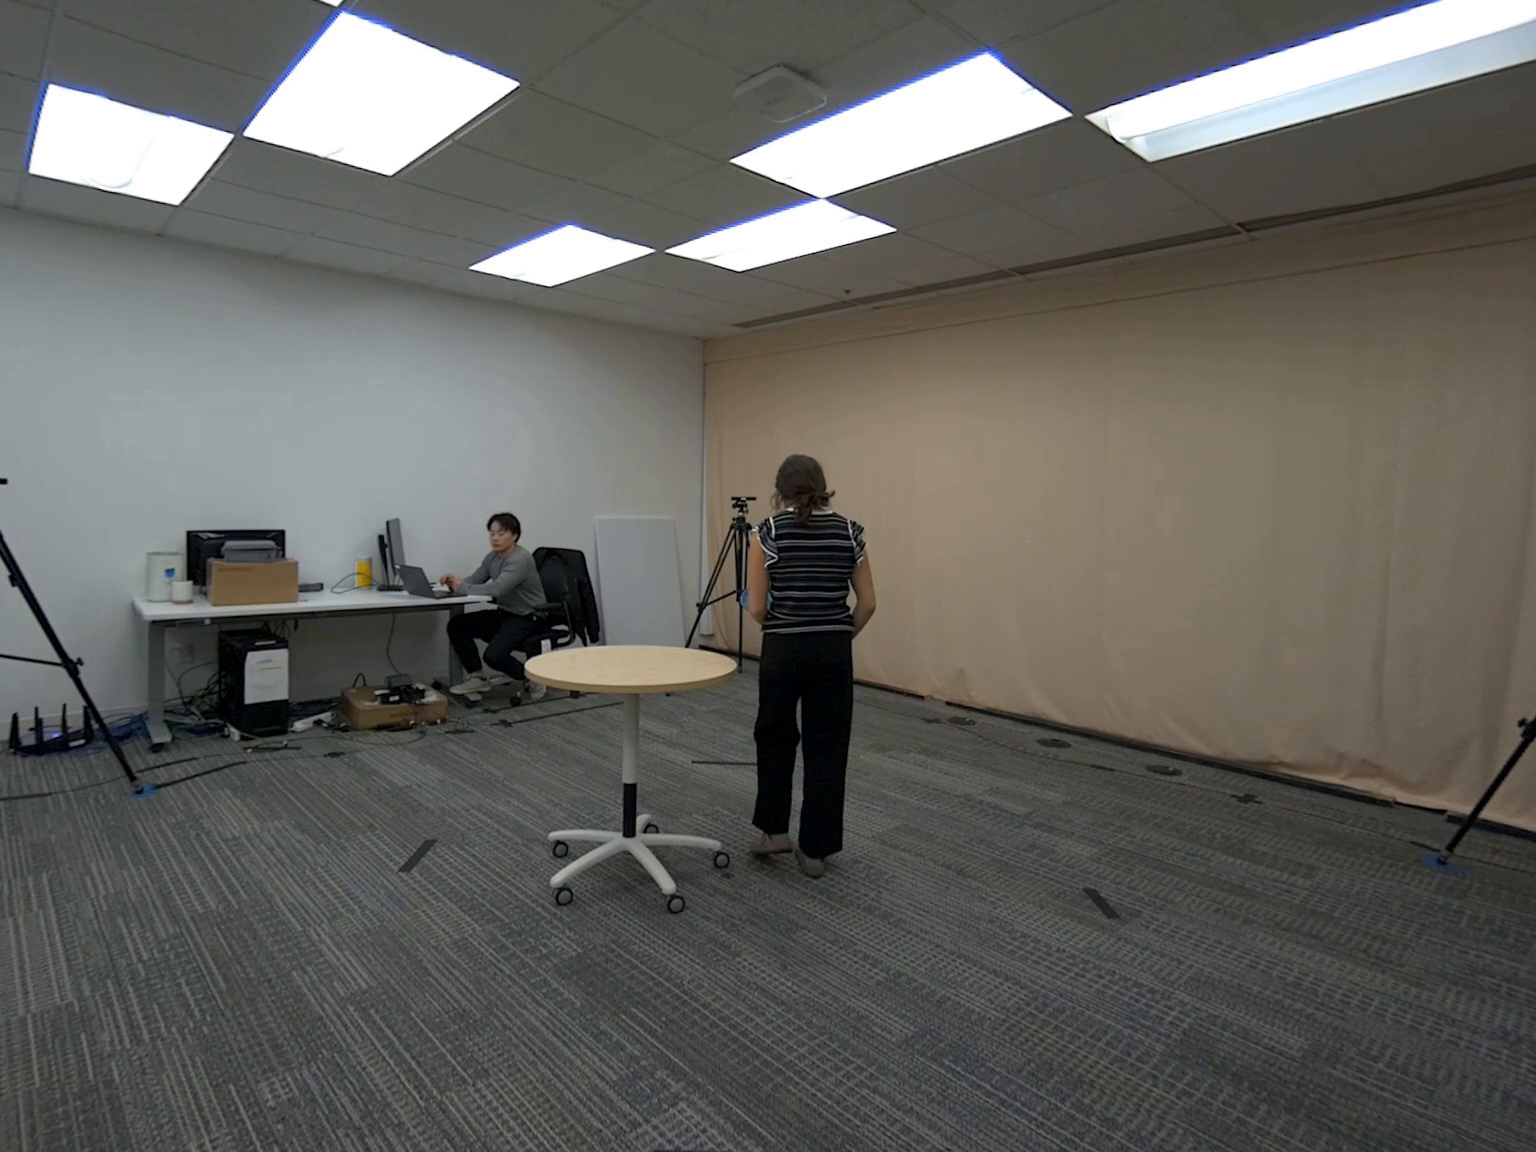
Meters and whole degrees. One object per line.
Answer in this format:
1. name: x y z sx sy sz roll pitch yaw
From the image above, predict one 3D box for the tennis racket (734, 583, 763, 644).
1. tennis racket: -0.004 0.128 3.539 0.213 0.031 0.443 -15 28 -3
